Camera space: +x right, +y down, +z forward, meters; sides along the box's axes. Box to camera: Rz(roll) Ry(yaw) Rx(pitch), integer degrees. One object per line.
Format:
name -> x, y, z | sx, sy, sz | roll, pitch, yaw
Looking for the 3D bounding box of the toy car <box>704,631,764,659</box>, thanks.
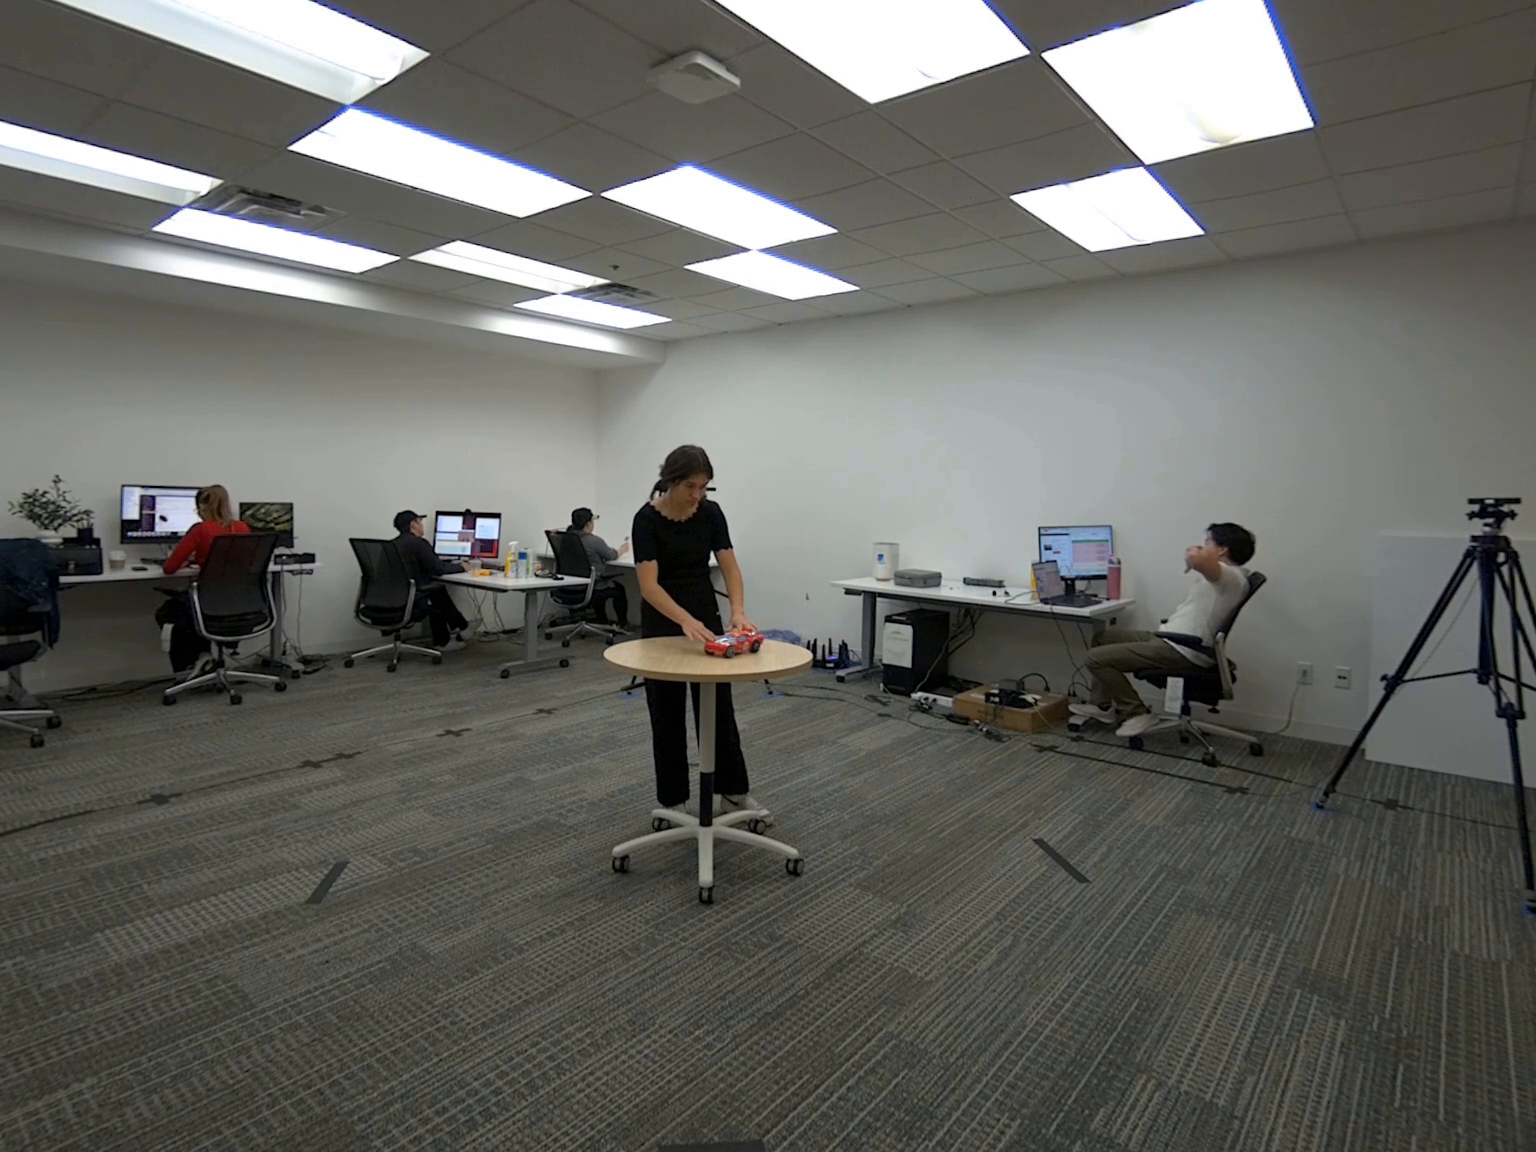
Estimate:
toy car -> -0.129, 0.248, 3.133 | 0.134, 0.082, 0.249 | 4, 17, 39
